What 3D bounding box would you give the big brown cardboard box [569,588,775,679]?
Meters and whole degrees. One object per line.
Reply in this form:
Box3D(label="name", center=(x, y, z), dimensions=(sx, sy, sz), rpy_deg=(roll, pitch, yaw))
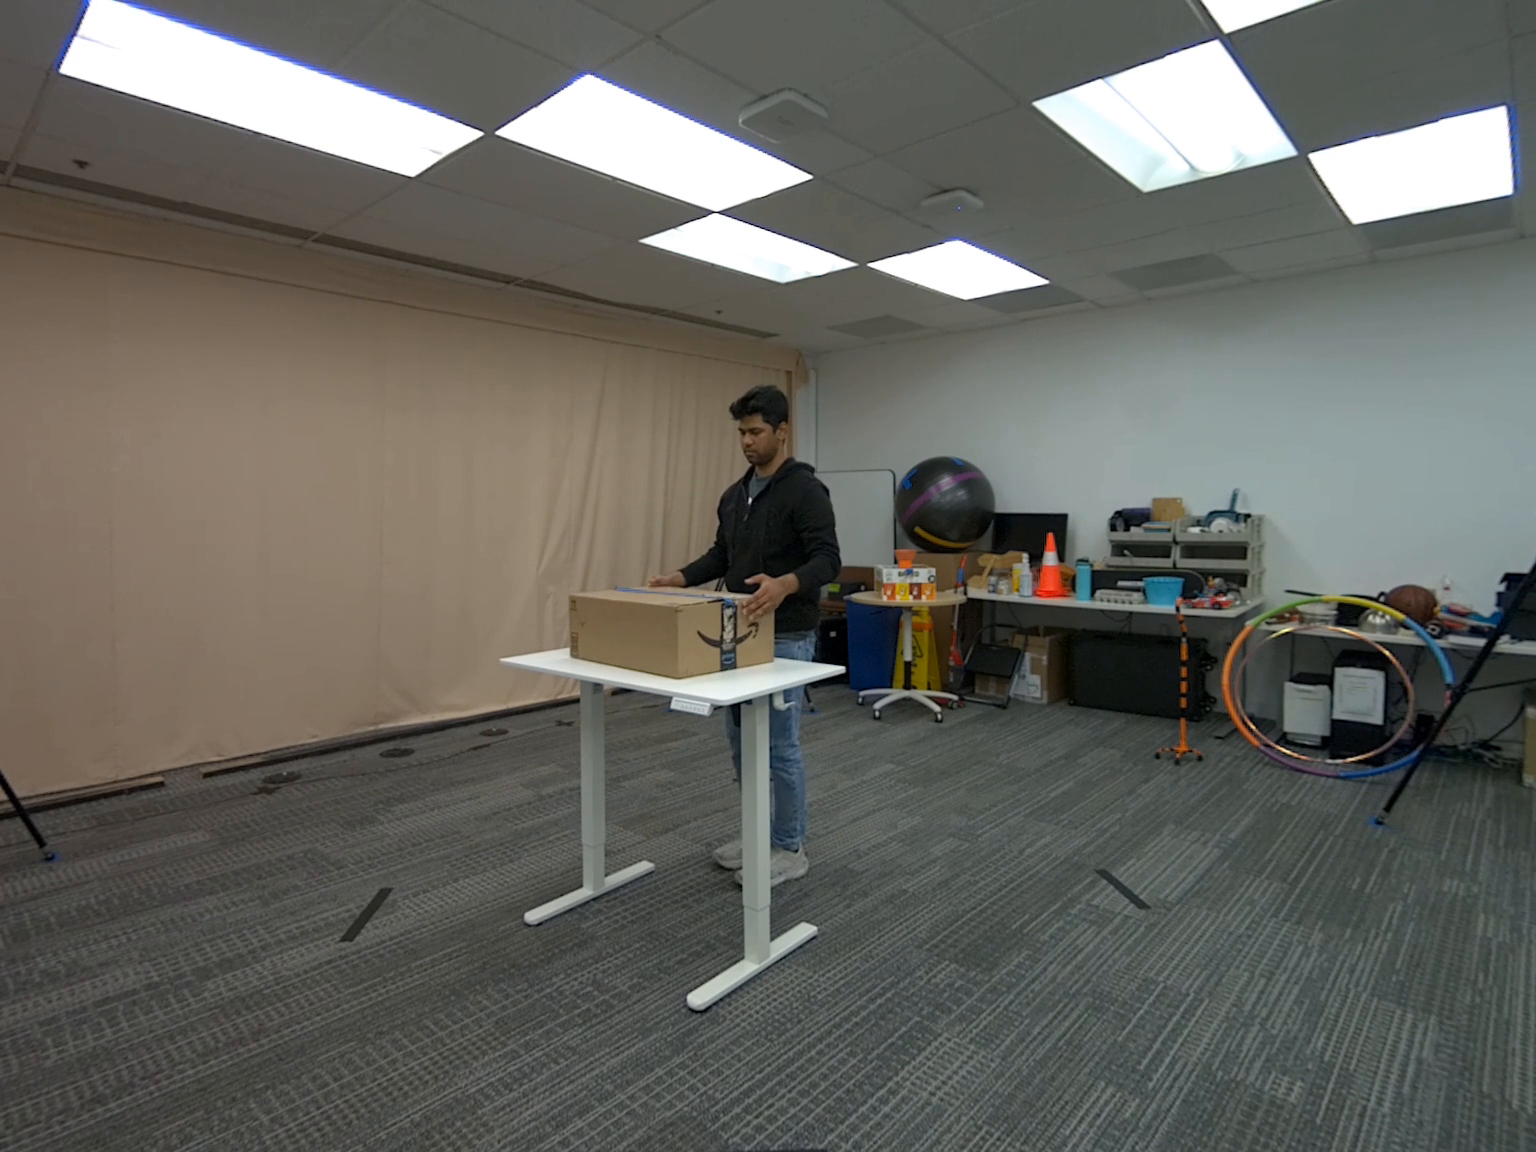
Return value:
Box3D(label="big brown cardboard box", center=(-0.321, 0.169, 2.806), dimensions=(0.405, 0.233, 0.608), rpy_deg=(-4, 5, -45))
